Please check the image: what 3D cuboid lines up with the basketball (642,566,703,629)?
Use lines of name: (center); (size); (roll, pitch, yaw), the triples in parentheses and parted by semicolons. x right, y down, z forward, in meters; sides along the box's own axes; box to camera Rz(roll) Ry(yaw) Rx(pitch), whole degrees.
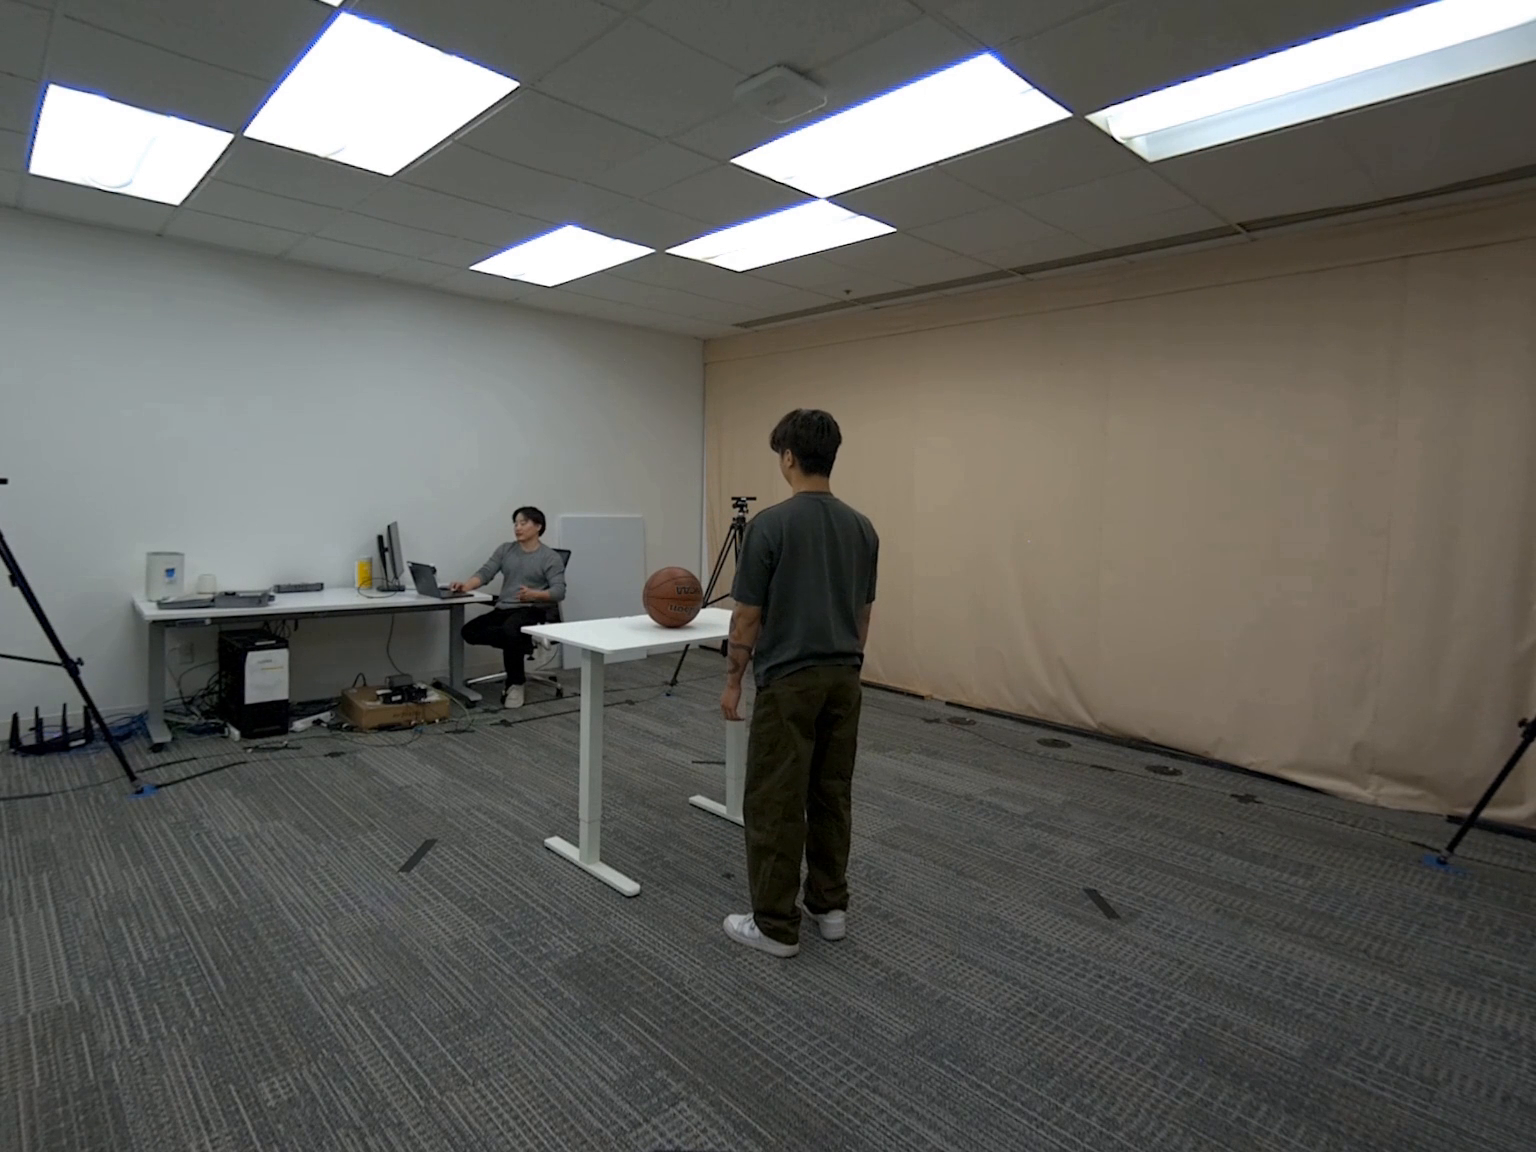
basketball: (-0.378, 0.085, 3.306); (0.236, 0.235, 0.237); (1, 4, -1)
